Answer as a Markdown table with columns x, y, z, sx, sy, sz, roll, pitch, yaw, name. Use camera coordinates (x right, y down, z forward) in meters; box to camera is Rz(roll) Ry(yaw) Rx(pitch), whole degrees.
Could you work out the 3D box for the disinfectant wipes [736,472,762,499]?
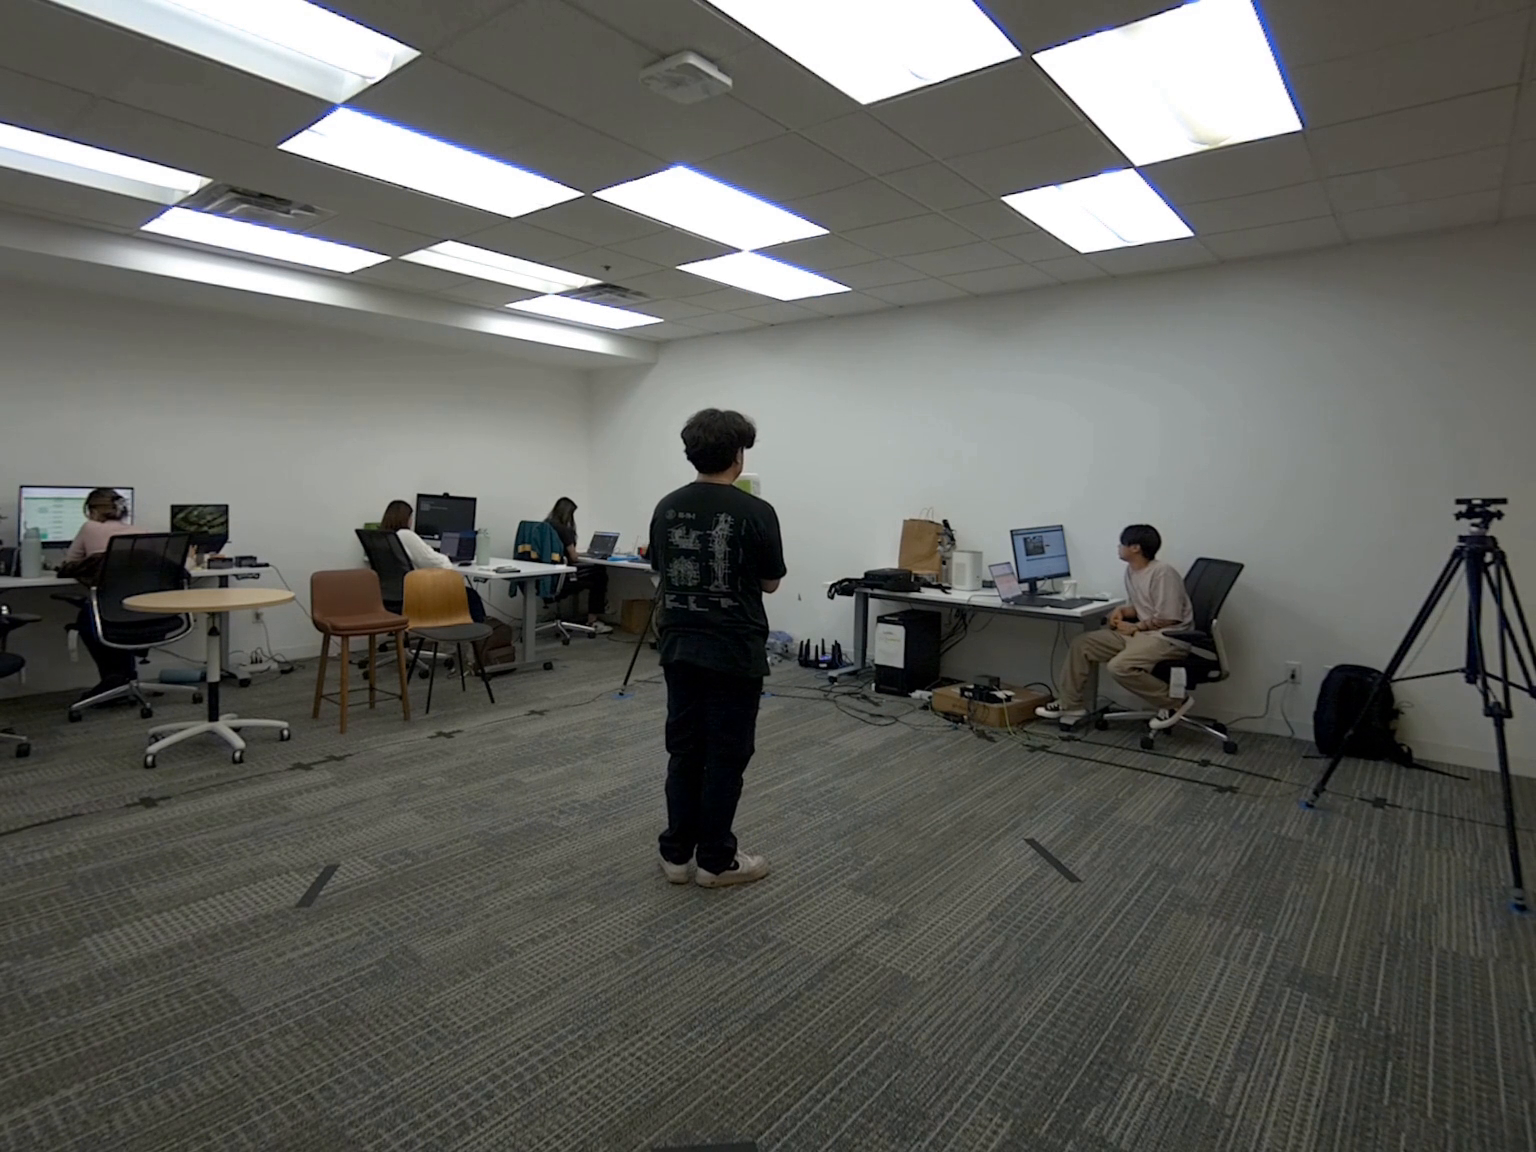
| x | y | z | sx | sy | sz | roll | pitch | yaw | name |
| --- | --- | --- | --- | --- | --- | --- | --- | --- | --- |
| -0.086 | -0.289 | 3.312 | 0.117 | 0.218 | 0.117 | -5 | -2 | -2 | disinfectant wipes |
